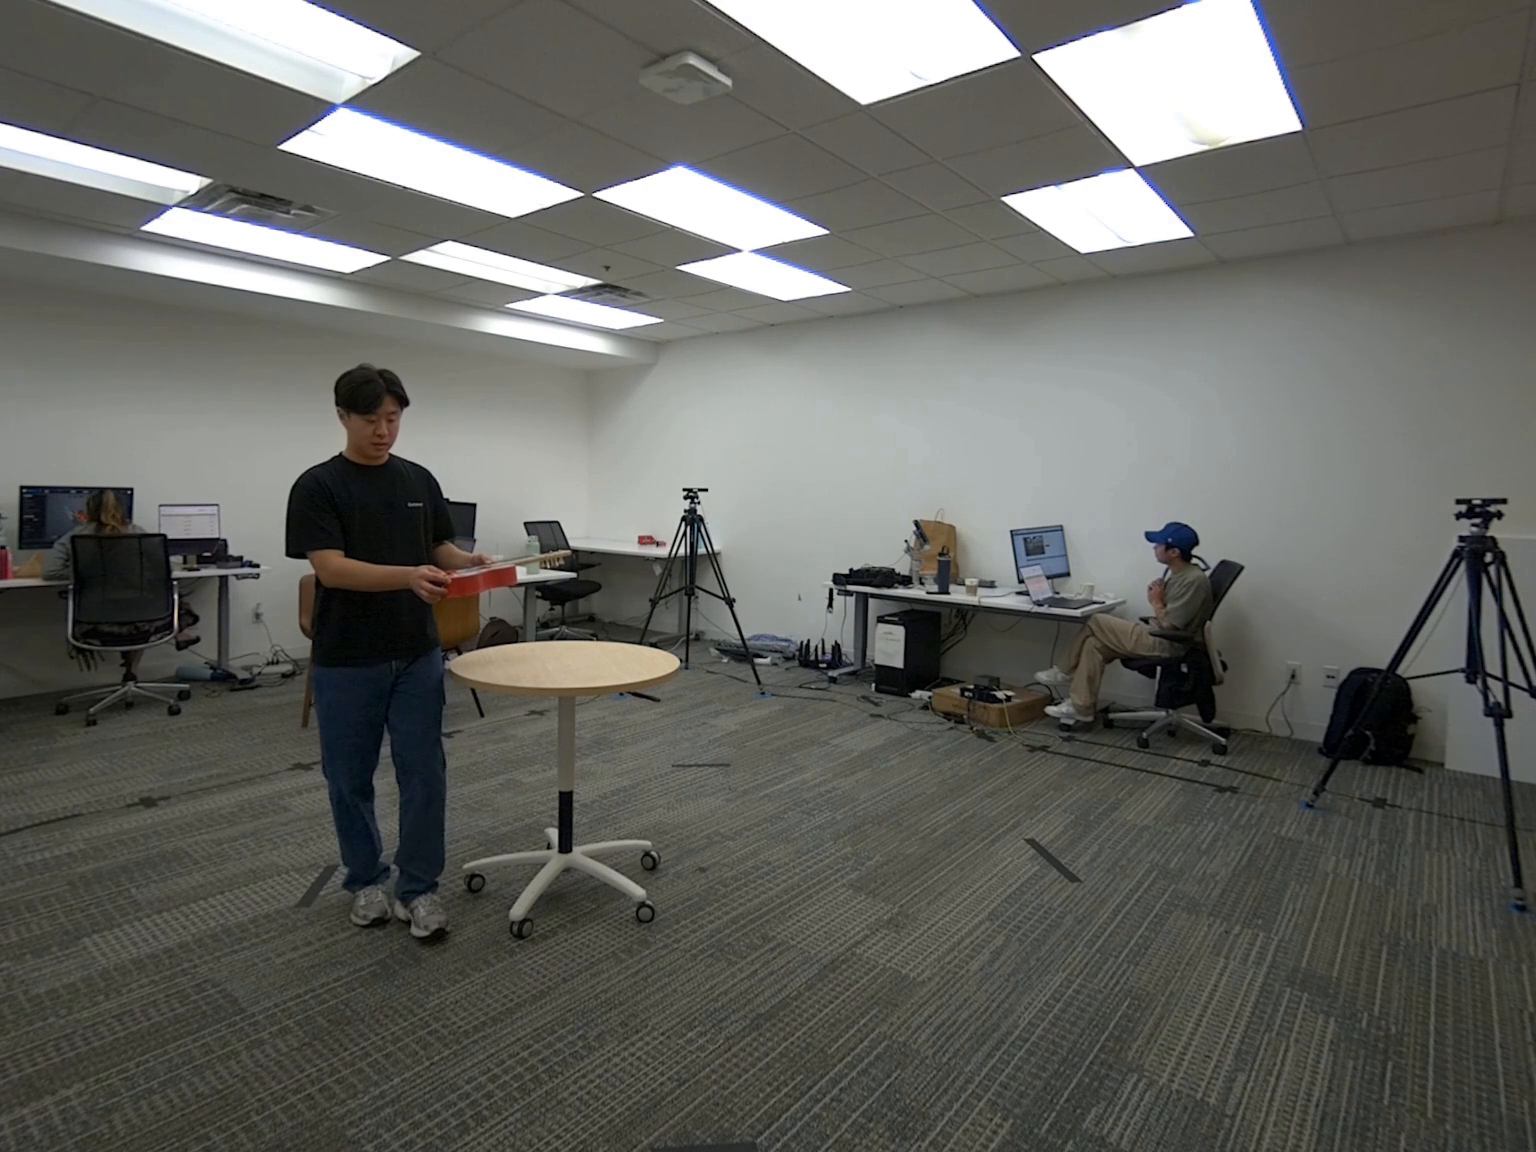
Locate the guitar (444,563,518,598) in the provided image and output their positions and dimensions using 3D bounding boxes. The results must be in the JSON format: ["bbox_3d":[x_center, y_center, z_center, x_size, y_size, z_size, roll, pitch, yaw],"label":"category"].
[{"bbox_3d":[-0.830,-0.006,2.631,0.487,0.070,0.199,-9,14,-26],"label":"guitar"}]
